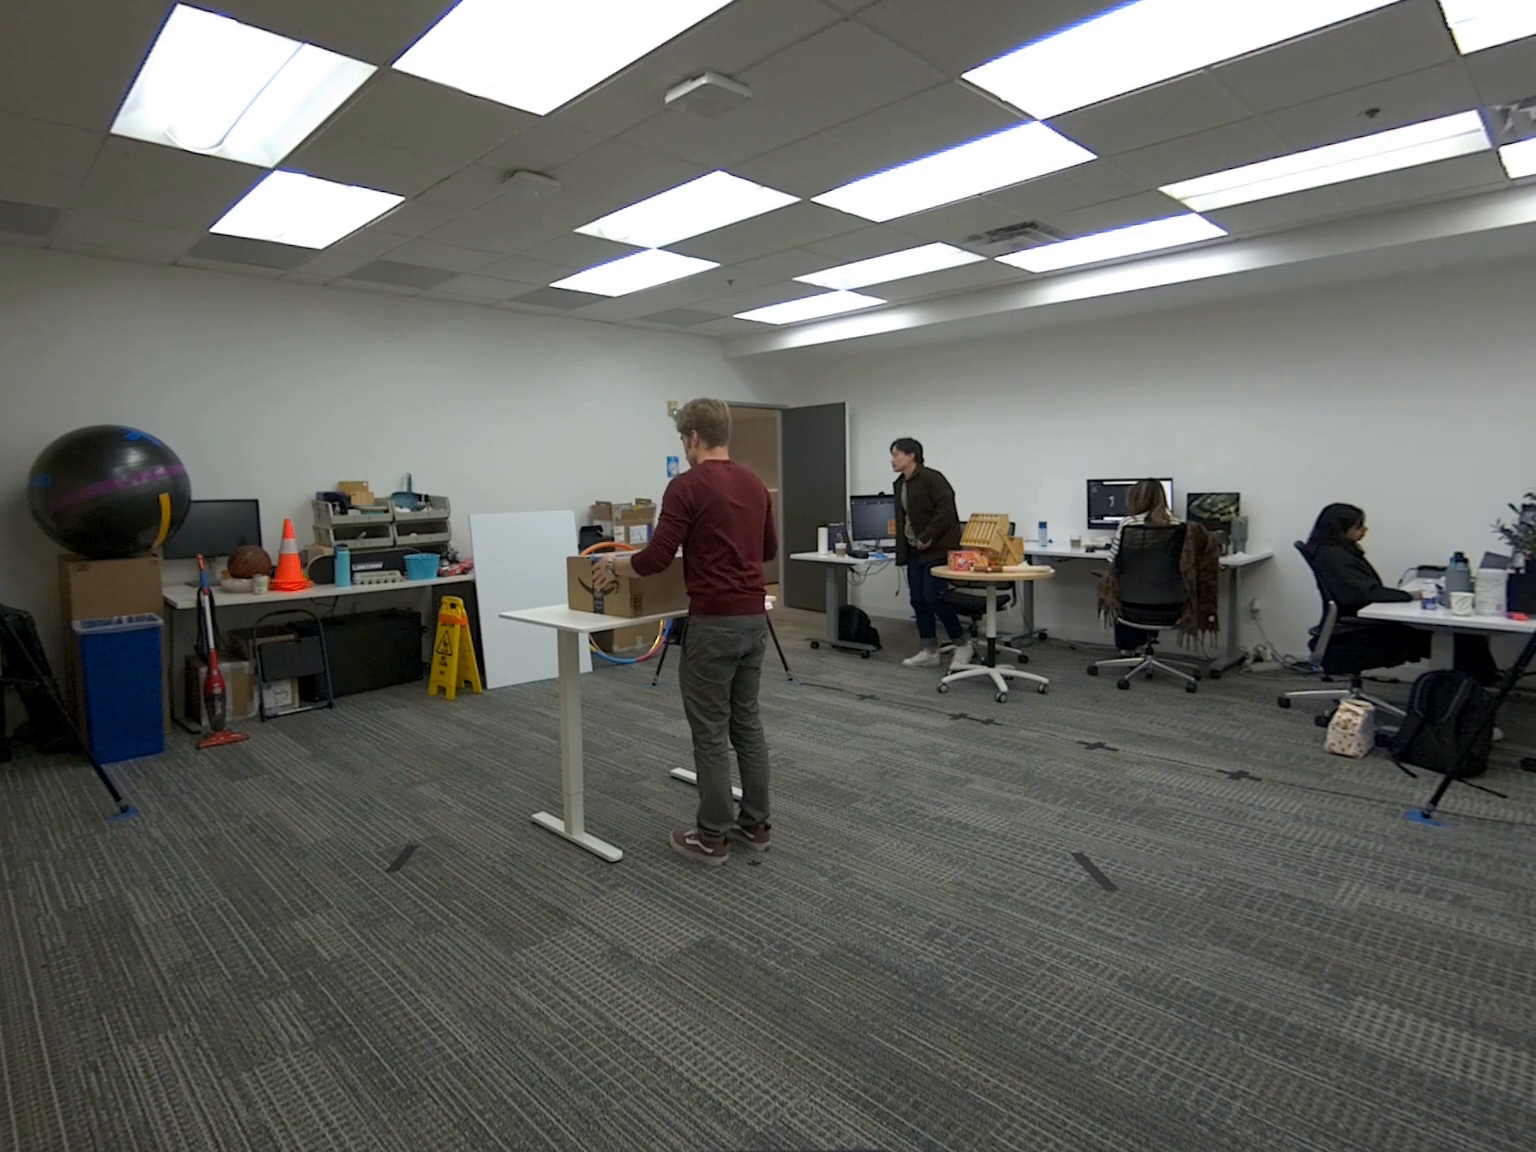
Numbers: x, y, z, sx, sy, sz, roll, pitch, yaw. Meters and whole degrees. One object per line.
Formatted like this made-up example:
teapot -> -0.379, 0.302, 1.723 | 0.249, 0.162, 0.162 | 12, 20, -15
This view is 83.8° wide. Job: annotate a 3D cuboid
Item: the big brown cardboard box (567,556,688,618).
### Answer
big brown cardboard box -> -0.484, 0.011, 3.537 | 0.430, 0.232, 0.574 | 4, 8, 44
